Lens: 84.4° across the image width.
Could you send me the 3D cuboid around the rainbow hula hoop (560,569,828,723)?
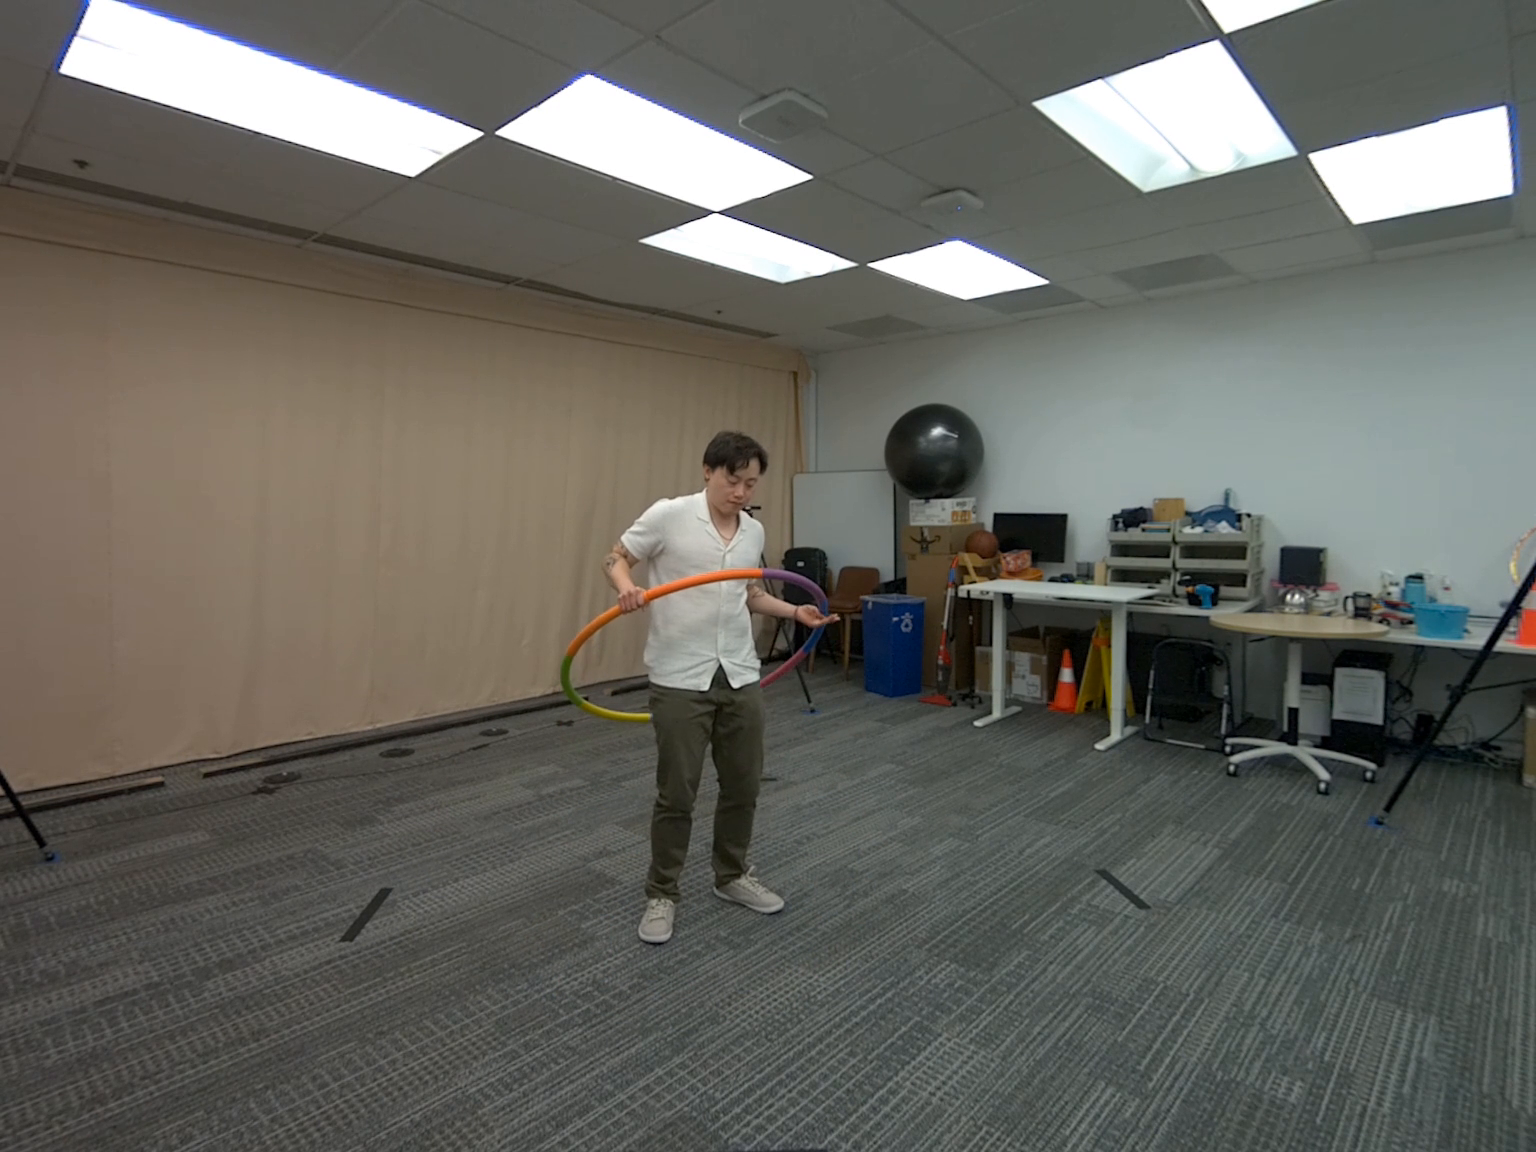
[{"bbox_3d":[-0.244,0.266,3.003,0.970,0.036,0.962,-13,-32,-11],"label":"rainbow hula hoop"}]
